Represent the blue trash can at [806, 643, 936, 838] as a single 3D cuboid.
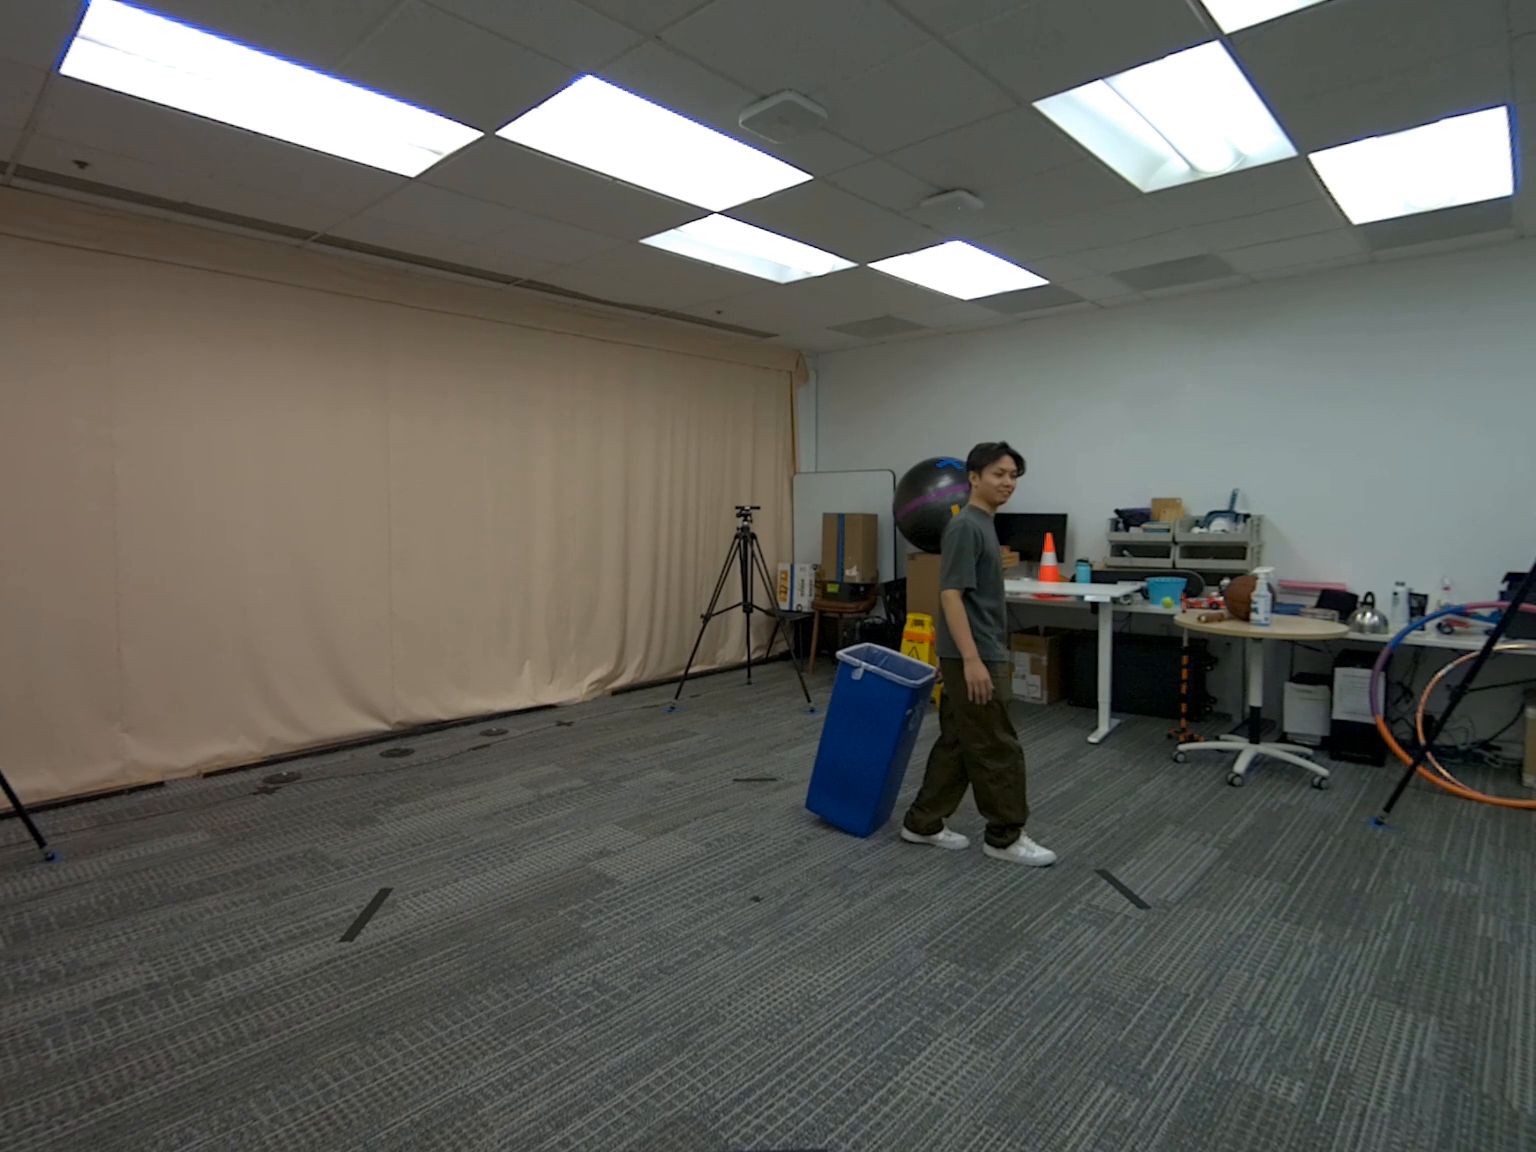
[{"bbox_3d":[0.449,0.704,3.661,0.389,0.711,0.364,19,12,27],"label":"blue trash can"}]
